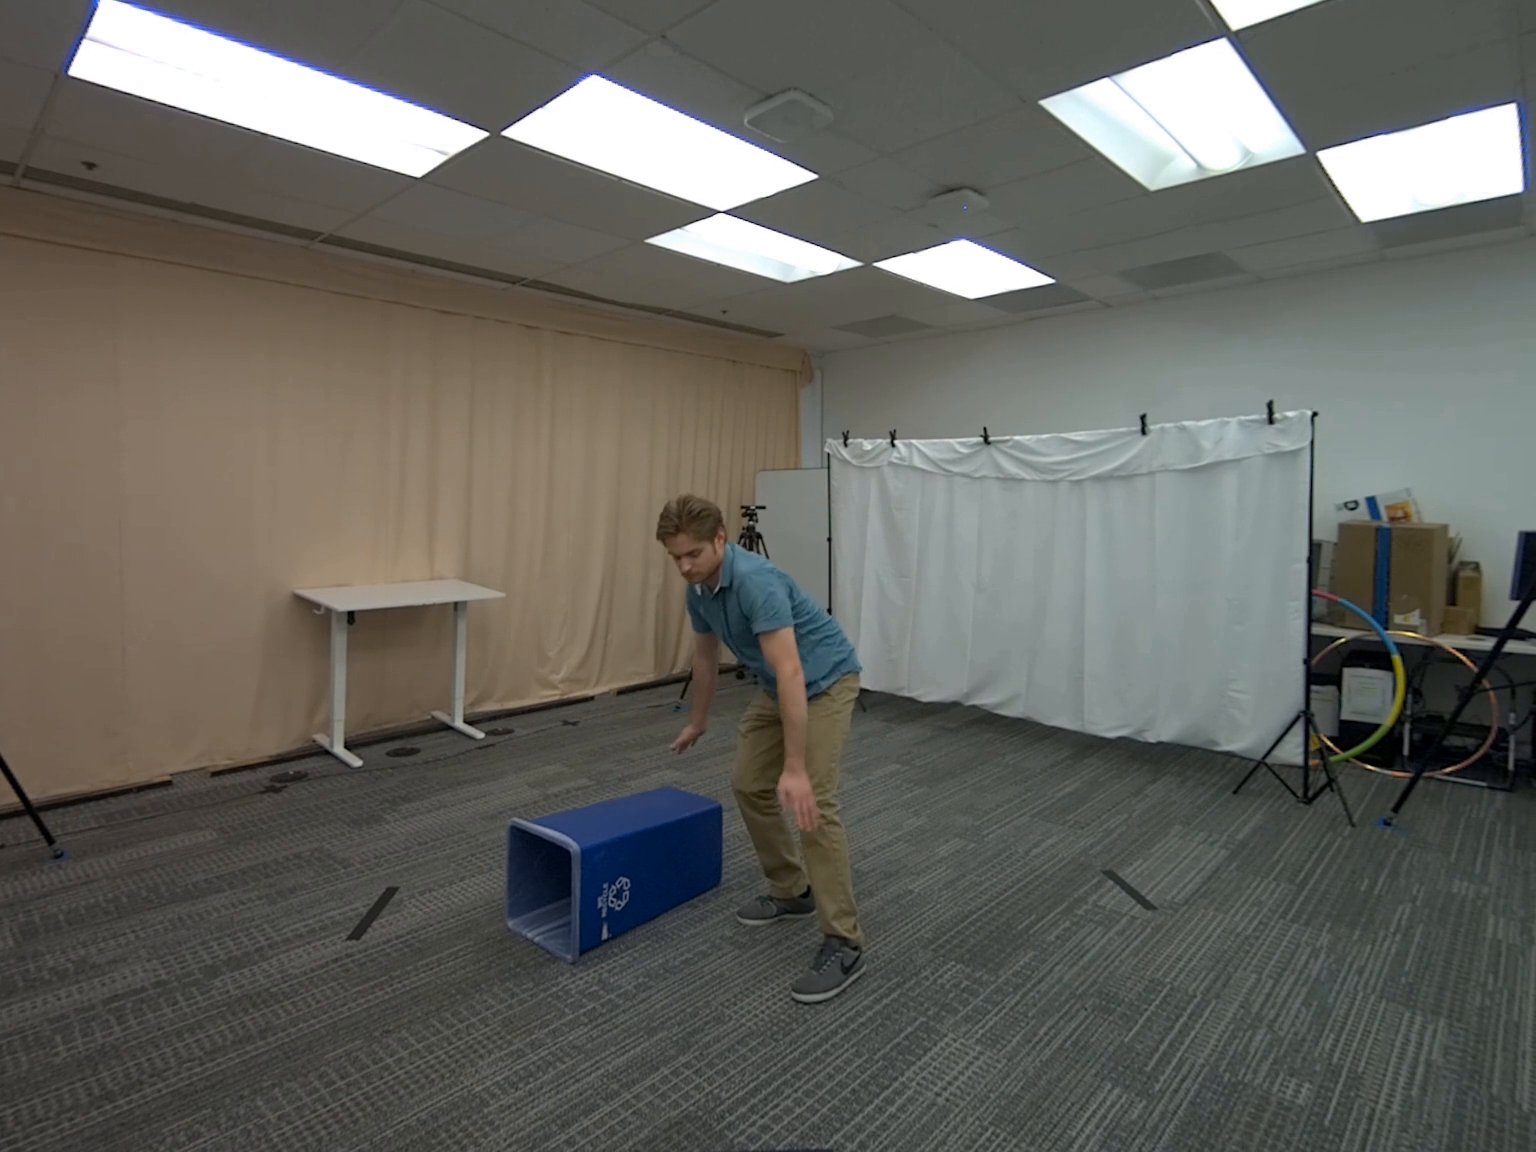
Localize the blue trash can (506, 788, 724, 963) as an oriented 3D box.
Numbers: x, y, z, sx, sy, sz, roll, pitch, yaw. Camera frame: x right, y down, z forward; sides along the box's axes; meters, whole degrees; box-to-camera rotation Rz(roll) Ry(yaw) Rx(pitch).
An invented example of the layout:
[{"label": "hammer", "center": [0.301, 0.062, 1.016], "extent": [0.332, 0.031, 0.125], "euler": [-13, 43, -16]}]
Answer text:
[{"label": "blue trash can", "center": [-0.511, 0.991, 2.936], "extent": [0.386, 0.378, 0.691], "euler": [2, 2, 40]}]
